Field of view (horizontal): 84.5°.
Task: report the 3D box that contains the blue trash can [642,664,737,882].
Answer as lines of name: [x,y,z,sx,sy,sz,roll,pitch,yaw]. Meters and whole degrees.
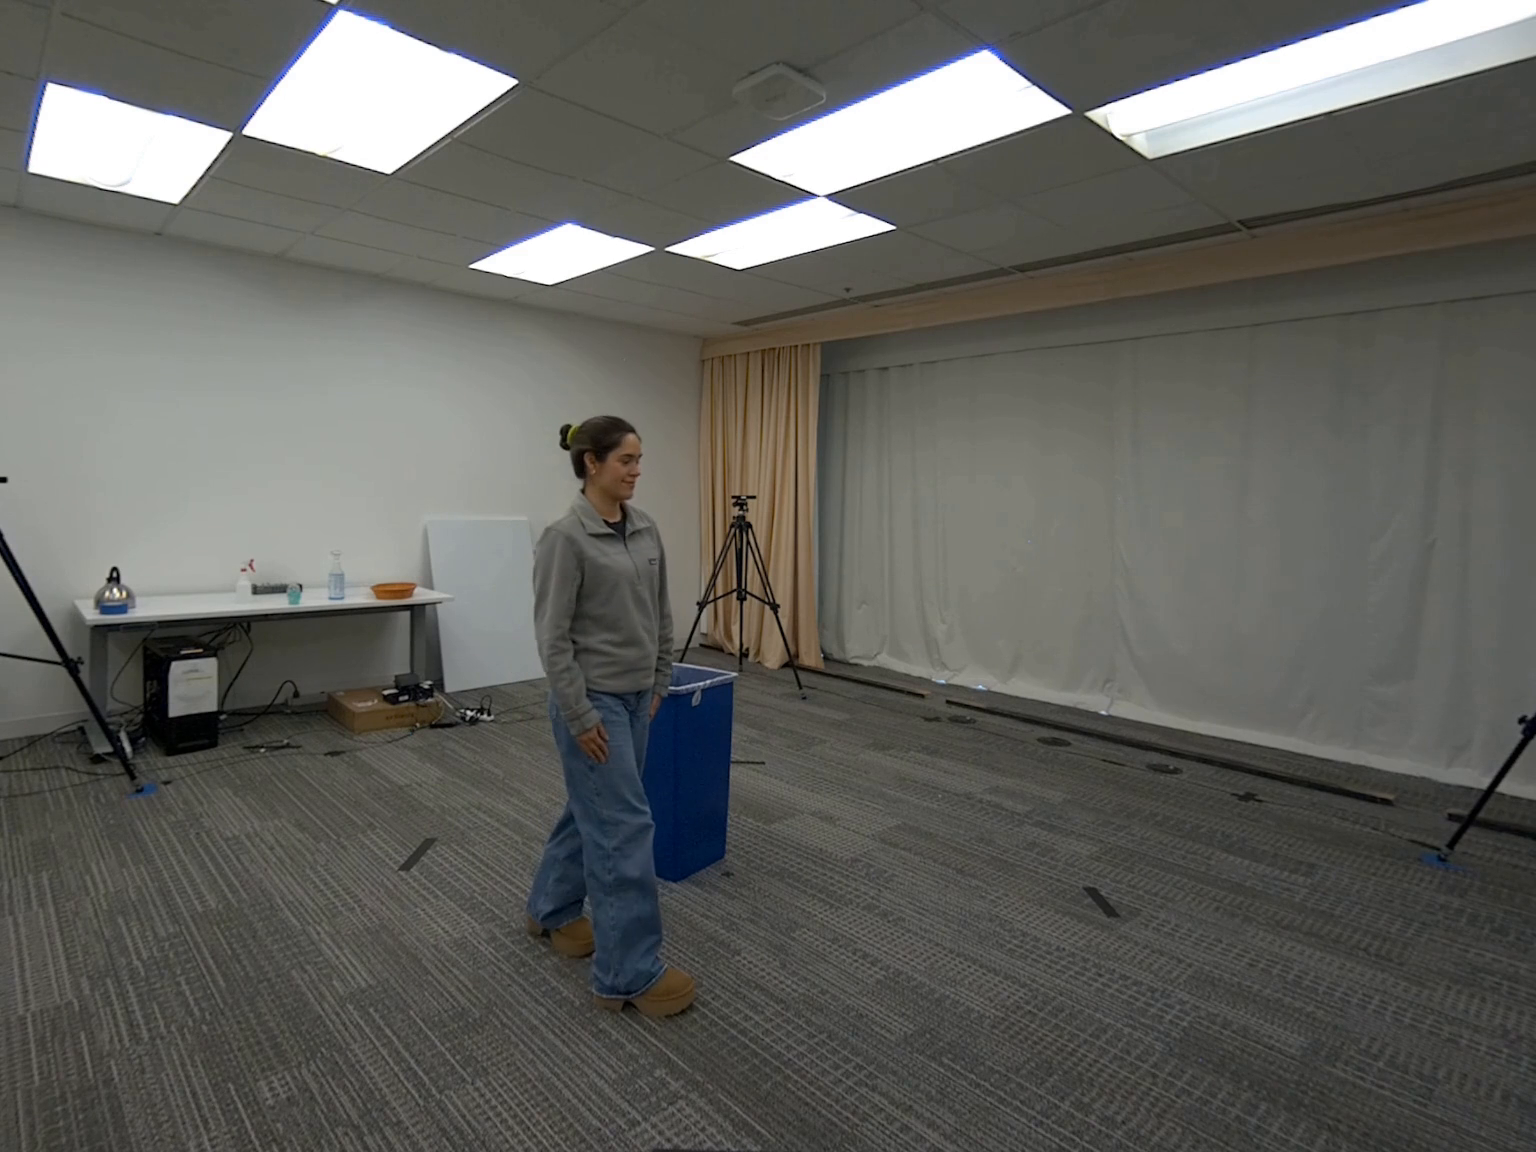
blue trash can: [-0.374,0.728,3.211,0.383,0.712,0.370,4,4,36]
